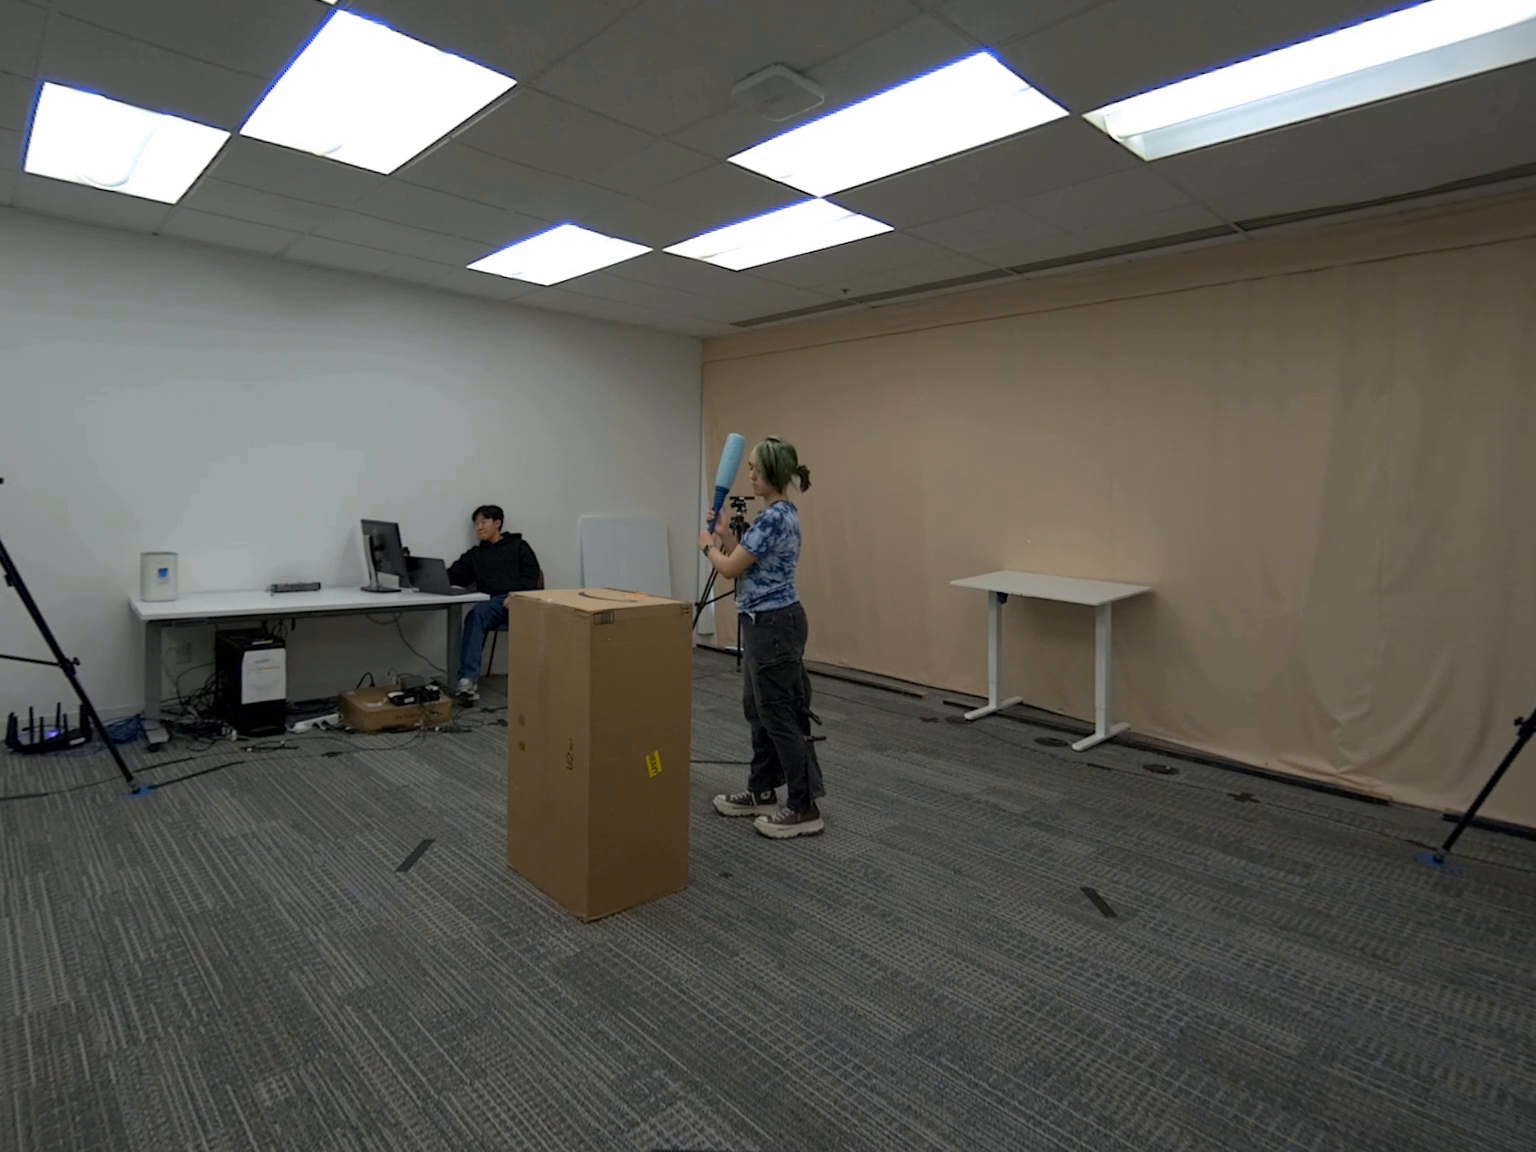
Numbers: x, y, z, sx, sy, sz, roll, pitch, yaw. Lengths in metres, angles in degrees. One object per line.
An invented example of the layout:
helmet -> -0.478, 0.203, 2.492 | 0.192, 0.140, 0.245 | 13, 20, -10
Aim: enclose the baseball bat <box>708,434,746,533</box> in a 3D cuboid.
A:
baseball bat -> -0.210, -0.370, 3.752 | 0.089, 0.545, 0.088 | 13, -8, 0
